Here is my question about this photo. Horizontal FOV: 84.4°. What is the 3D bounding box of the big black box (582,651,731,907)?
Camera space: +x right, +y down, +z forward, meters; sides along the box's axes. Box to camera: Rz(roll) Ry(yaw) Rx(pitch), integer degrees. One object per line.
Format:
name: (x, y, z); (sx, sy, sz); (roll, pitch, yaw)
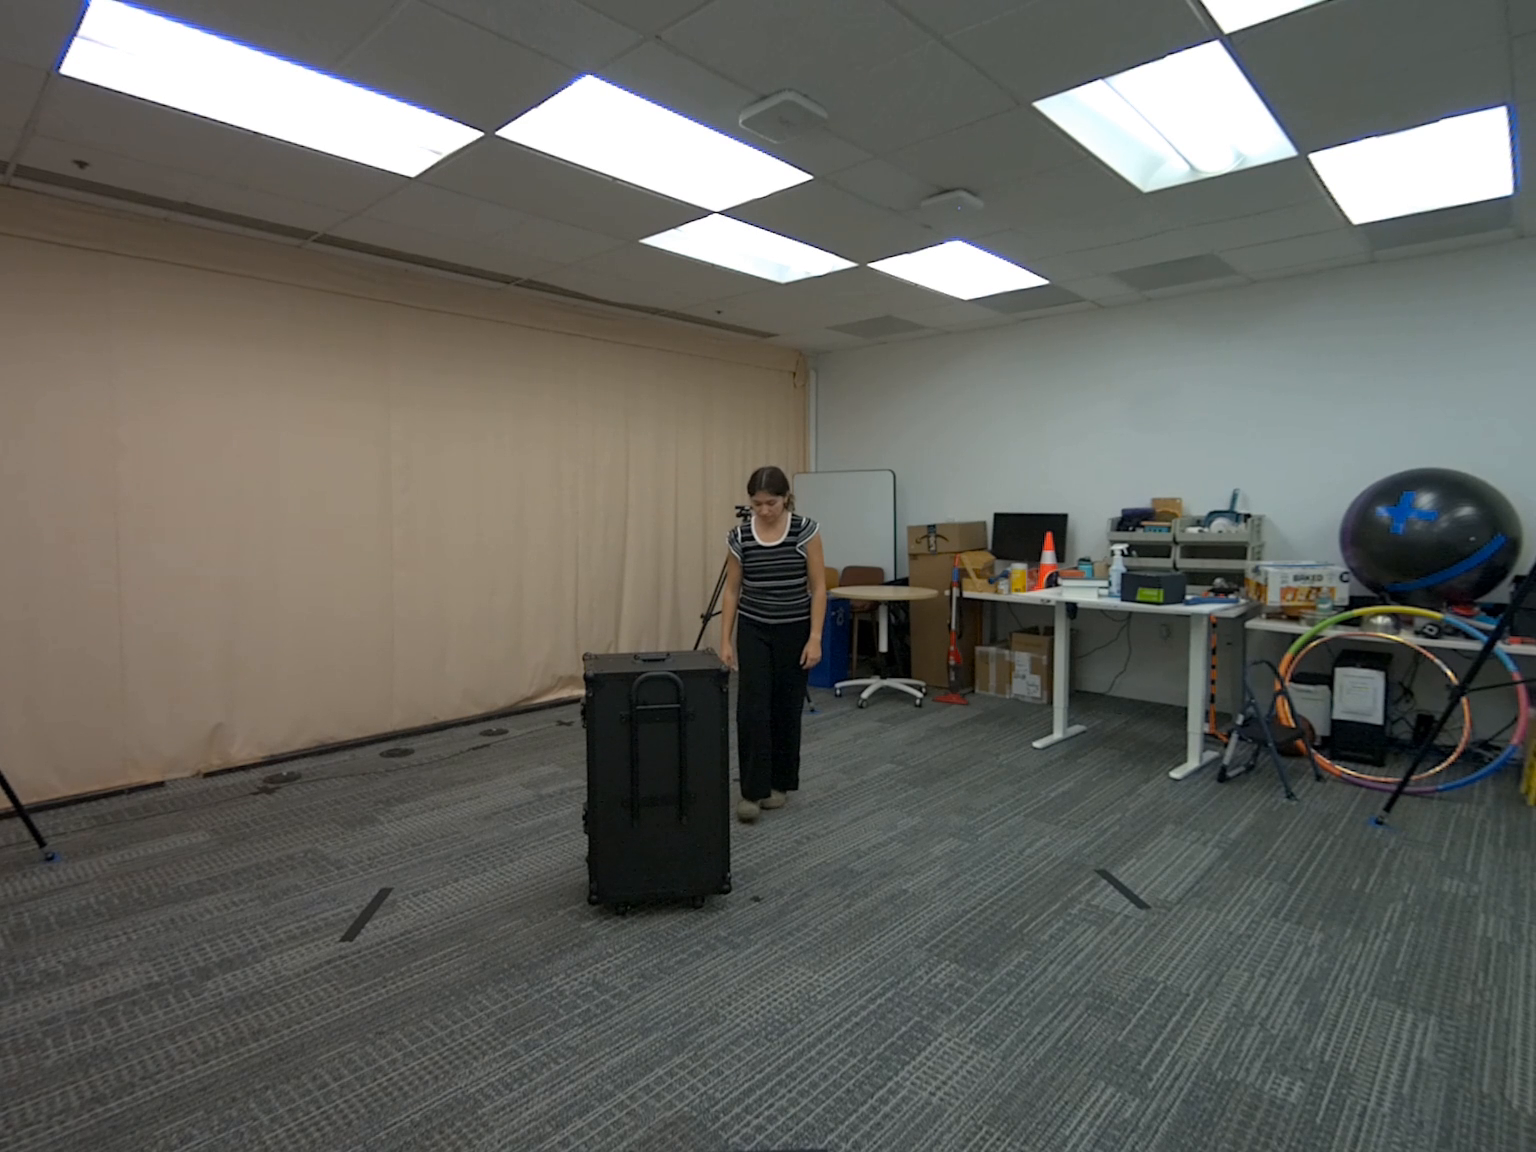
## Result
big black box: (-0.394, 0.720, 2.976); (0.516, 0.859, 0.401); (-1, 4, -10)
